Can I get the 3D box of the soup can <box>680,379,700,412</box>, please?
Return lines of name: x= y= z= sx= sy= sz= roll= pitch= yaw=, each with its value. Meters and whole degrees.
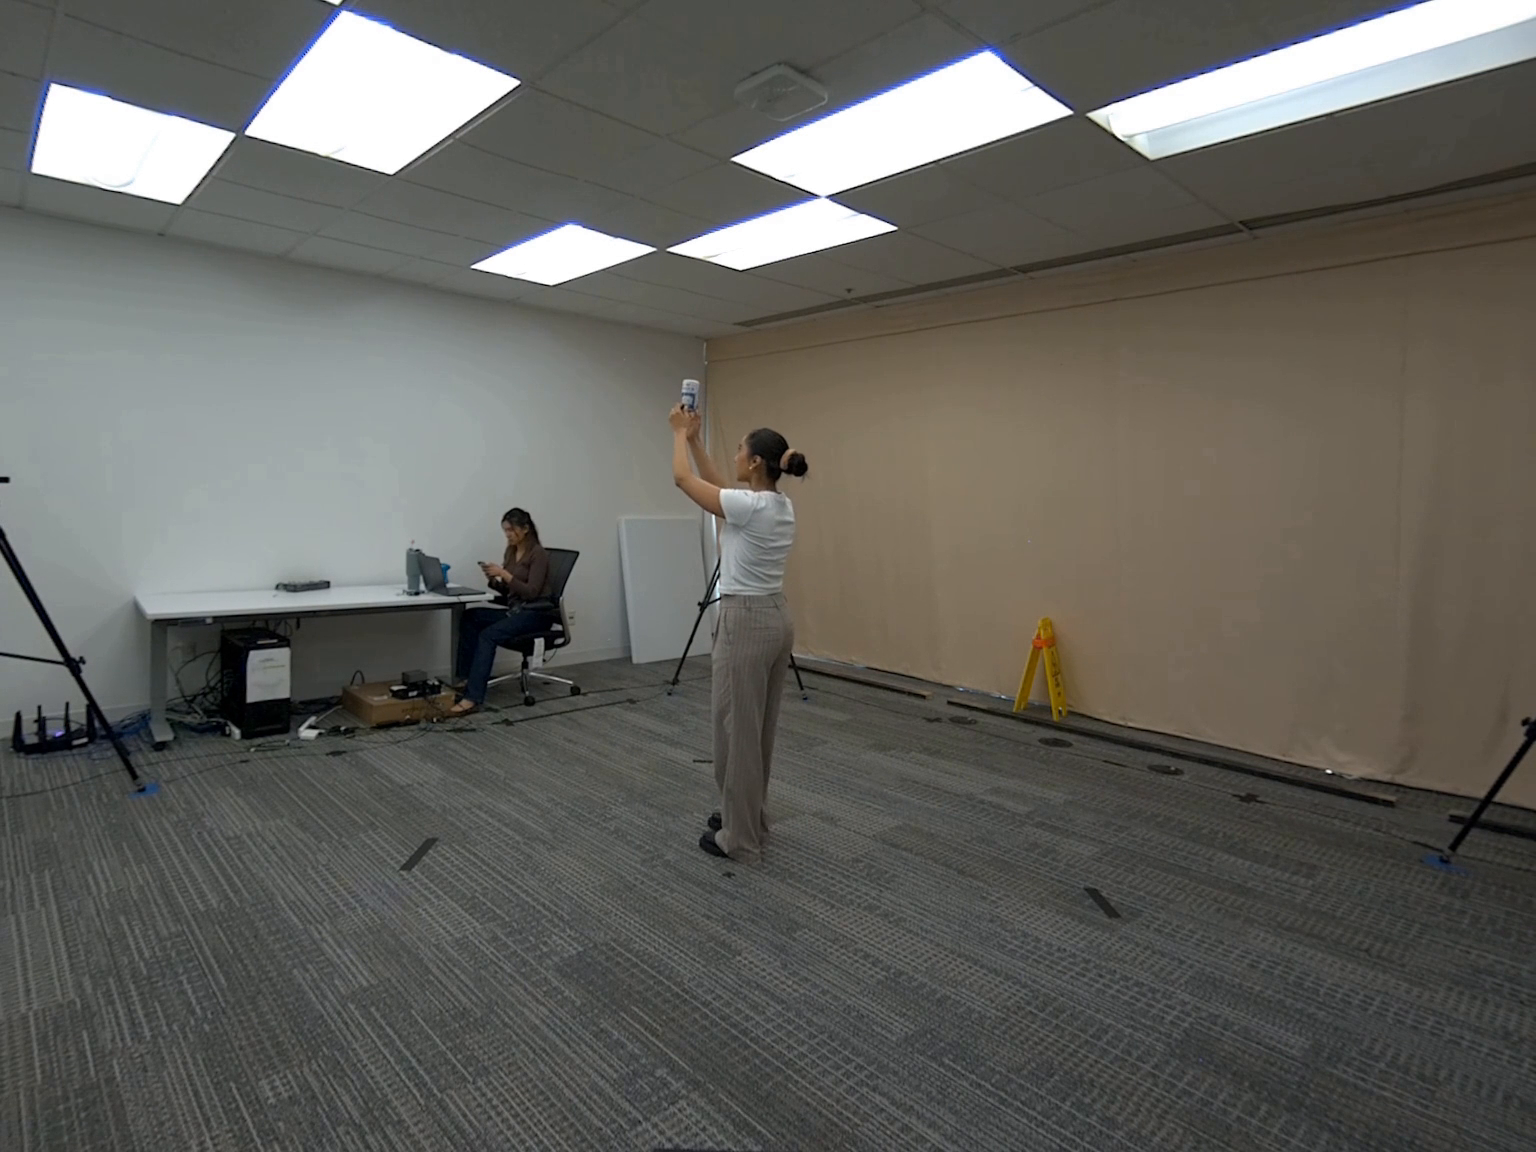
soup can: x=-0.321 y=-0.731 z=3.396 sx=0.067 sy=0.121 sz=0.067 roll=3 pitch=0 yaw=-1
